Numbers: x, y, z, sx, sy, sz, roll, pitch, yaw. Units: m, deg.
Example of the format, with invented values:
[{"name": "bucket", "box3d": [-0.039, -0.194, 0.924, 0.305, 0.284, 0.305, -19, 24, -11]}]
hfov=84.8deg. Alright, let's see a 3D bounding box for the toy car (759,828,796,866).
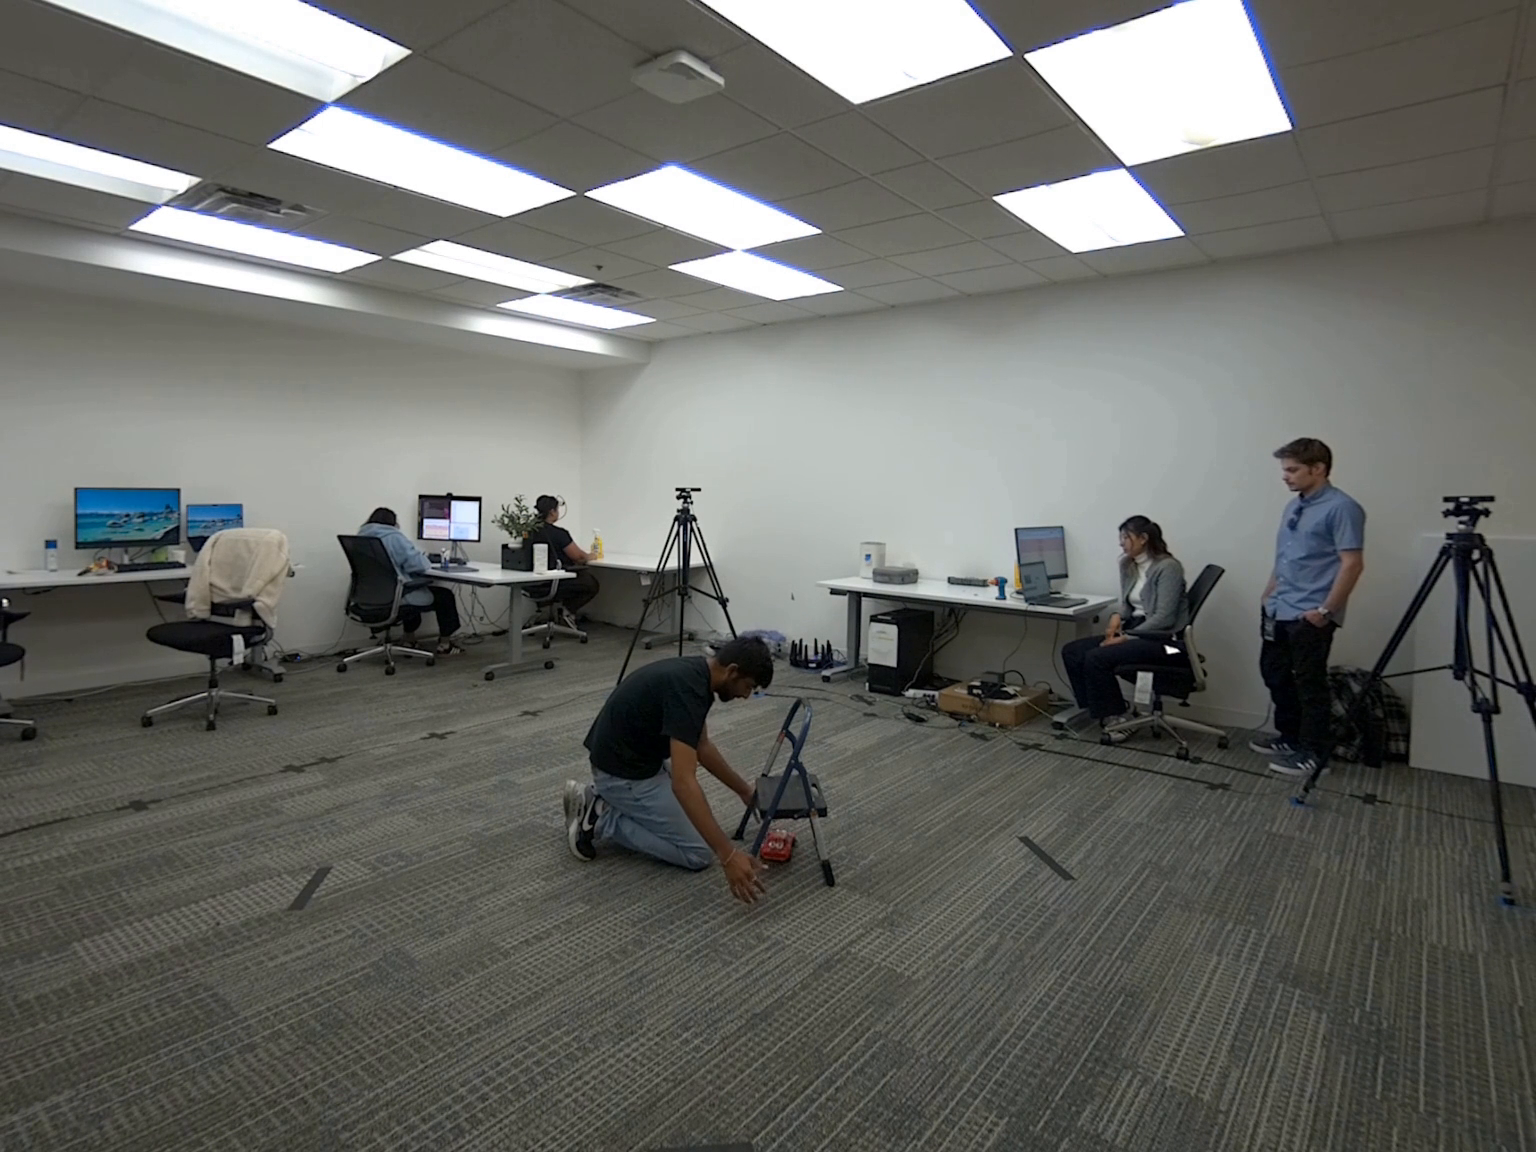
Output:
[{"name": "toy car", "box3d": [0.025, 1.028, 3.257, 0.132, 0.084, 0.249, 4, -6, 11]}]
